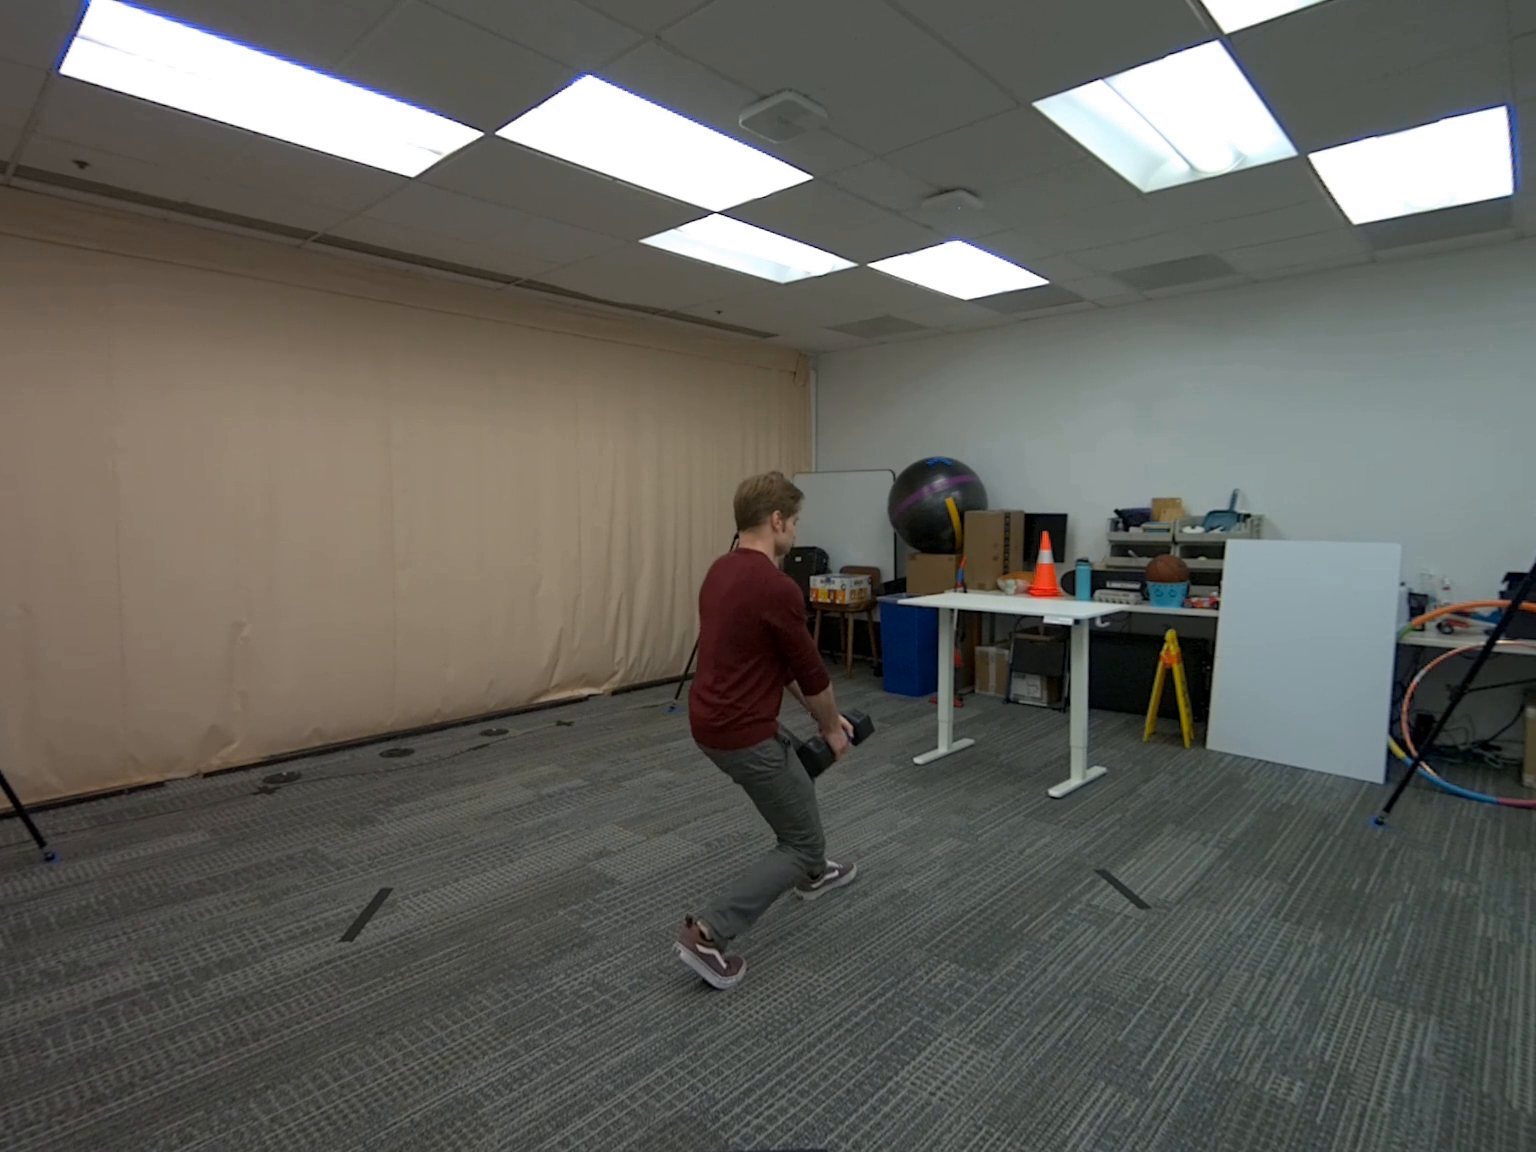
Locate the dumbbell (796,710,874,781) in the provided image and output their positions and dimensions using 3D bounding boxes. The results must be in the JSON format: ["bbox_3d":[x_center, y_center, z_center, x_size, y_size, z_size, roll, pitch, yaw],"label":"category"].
[{"bbox_3d":[0.230,0.557,2.815,0.287,0.111,0.123,-26,-21,-39],"label":"dumbbell"}]
